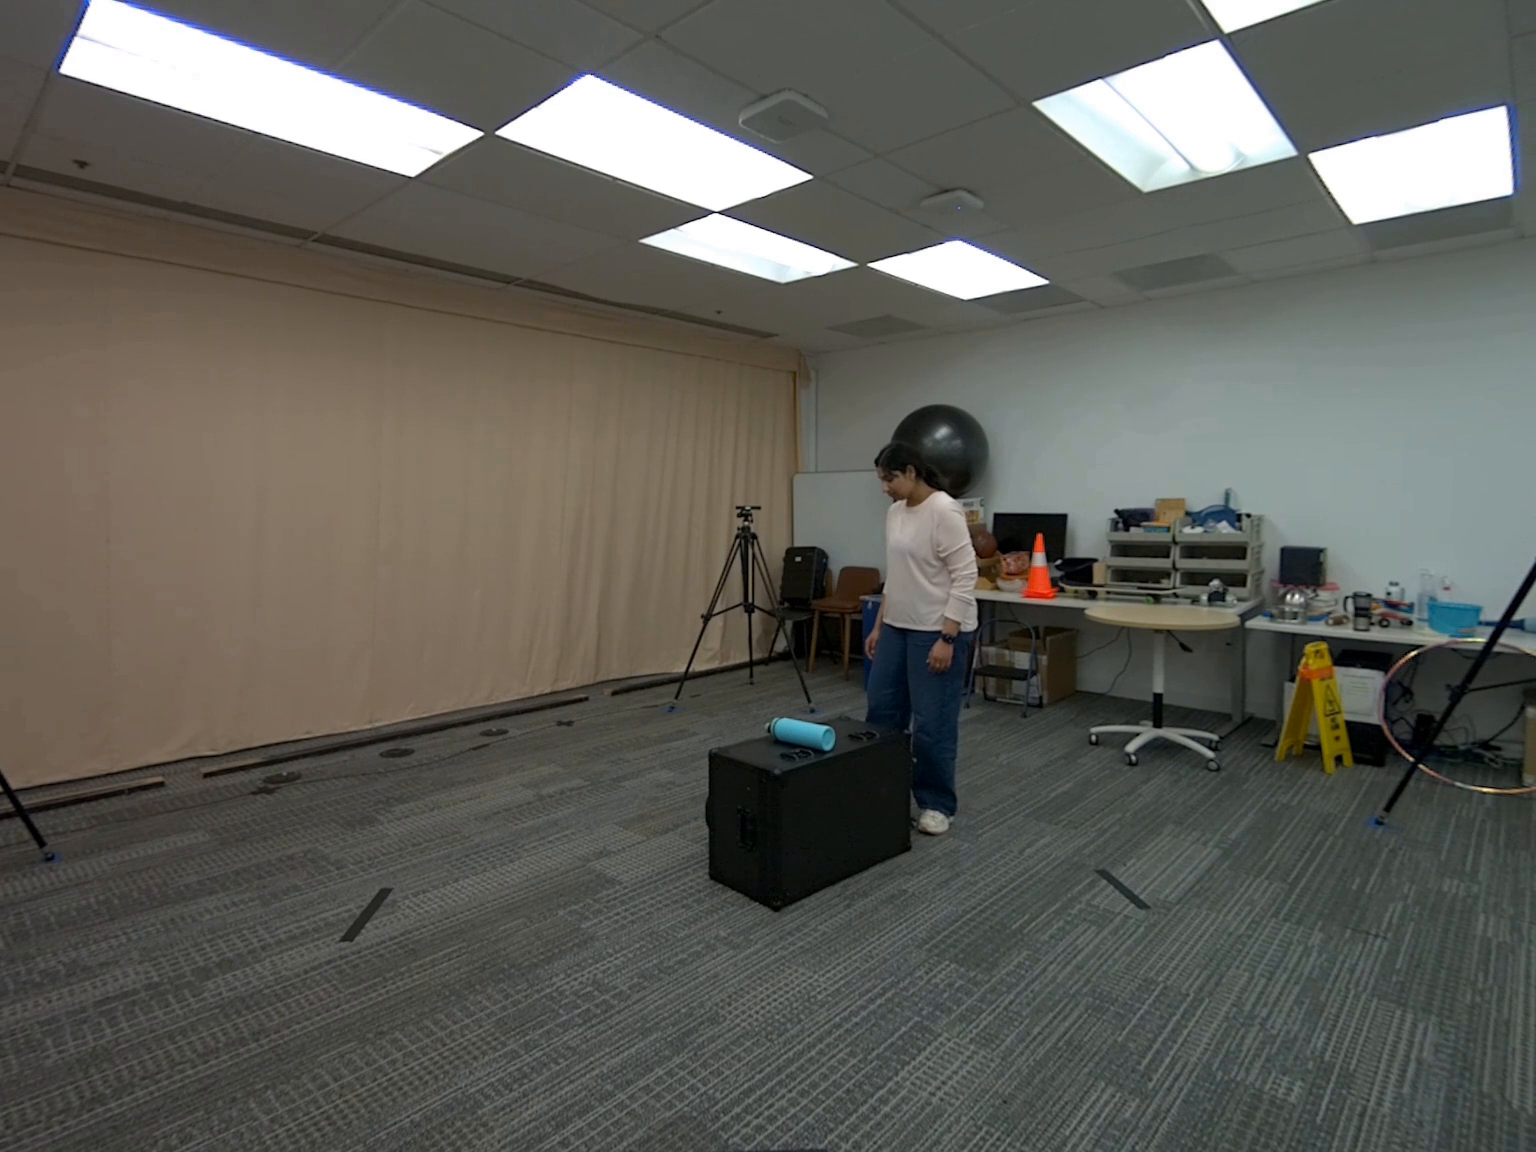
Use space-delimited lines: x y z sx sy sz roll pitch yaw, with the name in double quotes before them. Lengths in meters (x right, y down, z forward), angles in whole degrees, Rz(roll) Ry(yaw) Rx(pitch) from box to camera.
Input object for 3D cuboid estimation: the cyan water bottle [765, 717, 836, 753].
"cyan water bottle" 0.121 0.595 3.207 0.293 0.092 0.089 3 4 43
